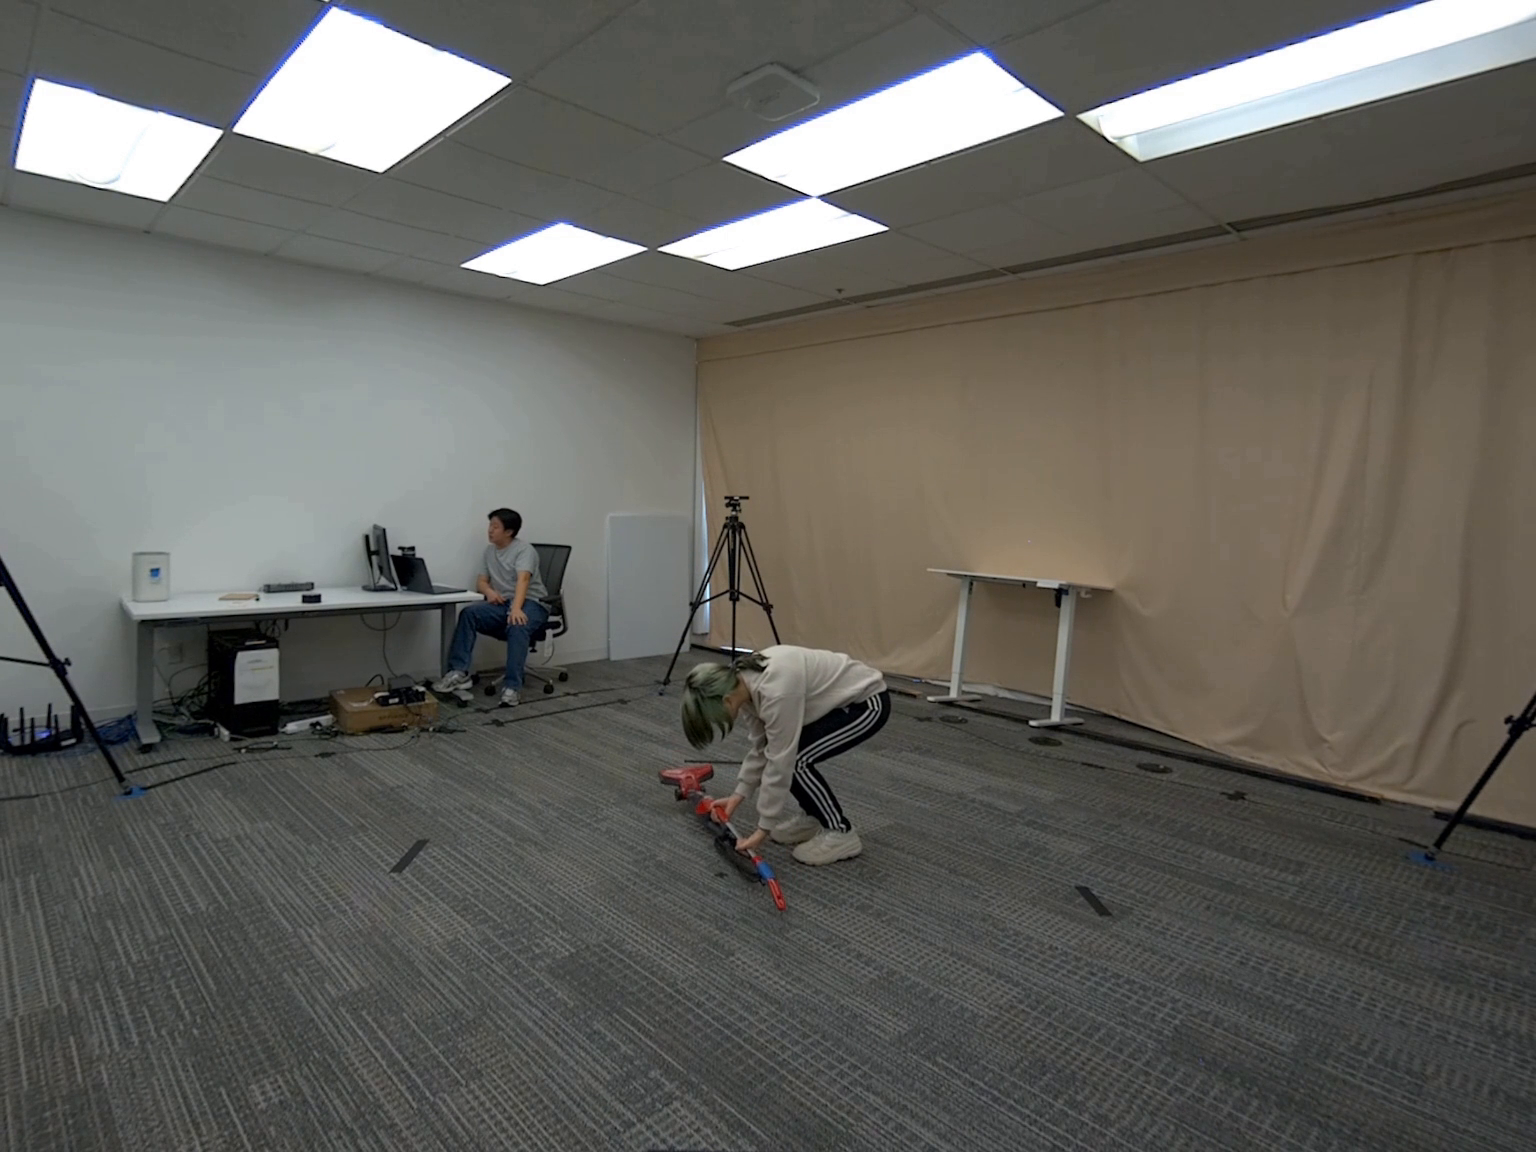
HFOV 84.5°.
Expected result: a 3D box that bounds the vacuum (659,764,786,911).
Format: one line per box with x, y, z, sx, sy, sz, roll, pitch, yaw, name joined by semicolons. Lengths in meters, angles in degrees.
-0.161;1.003;3.290;0.248;0.143;1.073;-2;10;-23;vacuum
